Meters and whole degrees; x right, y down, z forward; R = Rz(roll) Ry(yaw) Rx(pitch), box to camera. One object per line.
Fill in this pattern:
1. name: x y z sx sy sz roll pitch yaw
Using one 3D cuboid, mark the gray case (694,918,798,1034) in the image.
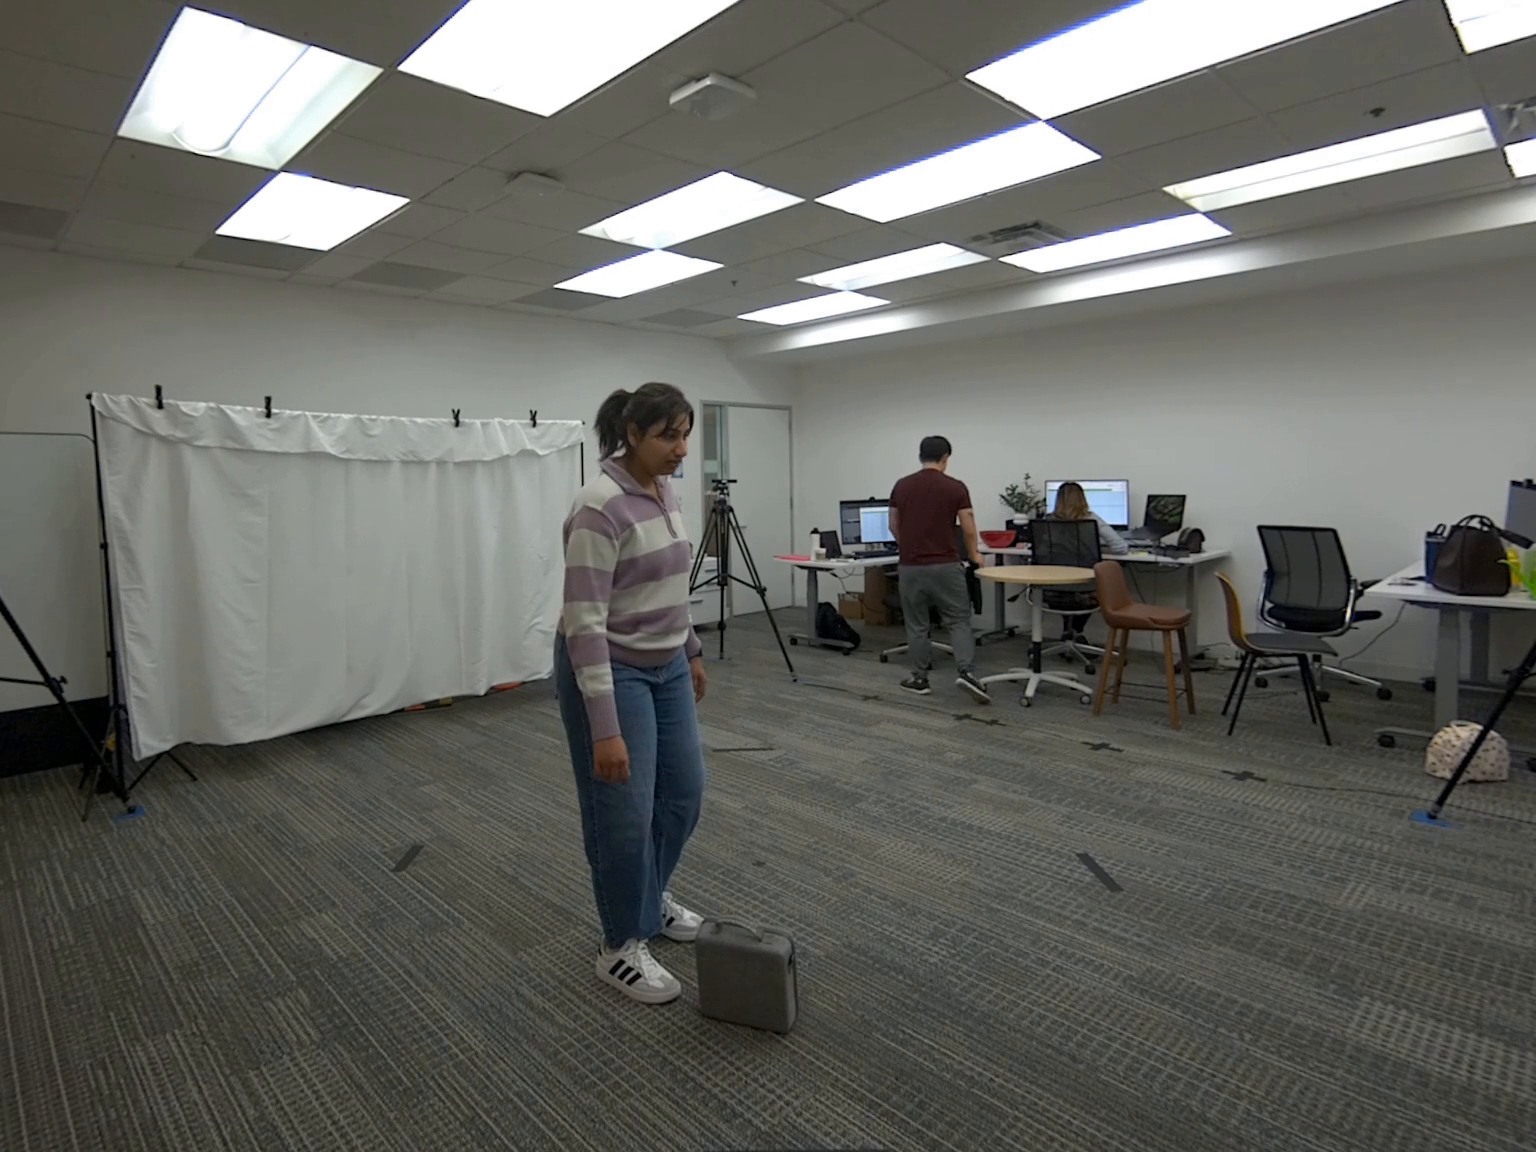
1. gray case: -0.047 1.012 2.208 0.262 0.258 0.103 0 11 21
